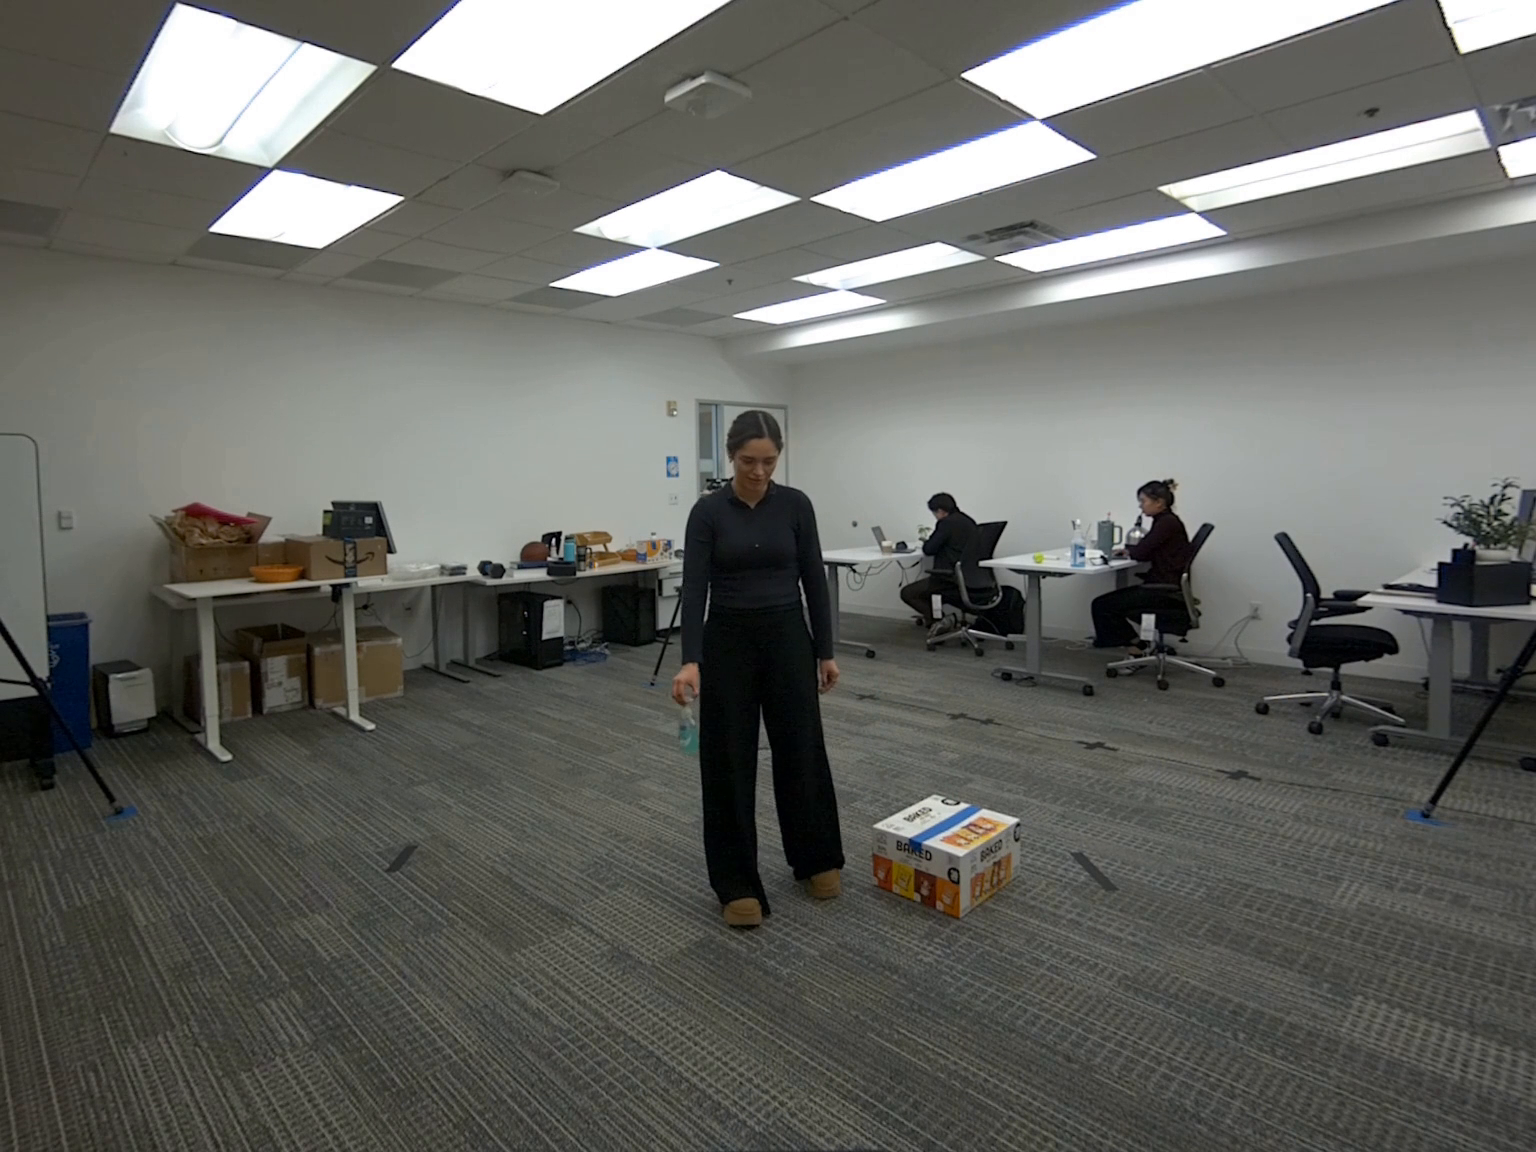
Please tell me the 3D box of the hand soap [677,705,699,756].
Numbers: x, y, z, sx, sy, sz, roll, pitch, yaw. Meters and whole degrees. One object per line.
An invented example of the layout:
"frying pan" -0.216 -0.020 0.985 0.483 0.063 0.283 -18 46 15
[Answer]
"hand soap" -0.234 0.454 2.557 0.042 0.168 0.087 -2 1 -43
